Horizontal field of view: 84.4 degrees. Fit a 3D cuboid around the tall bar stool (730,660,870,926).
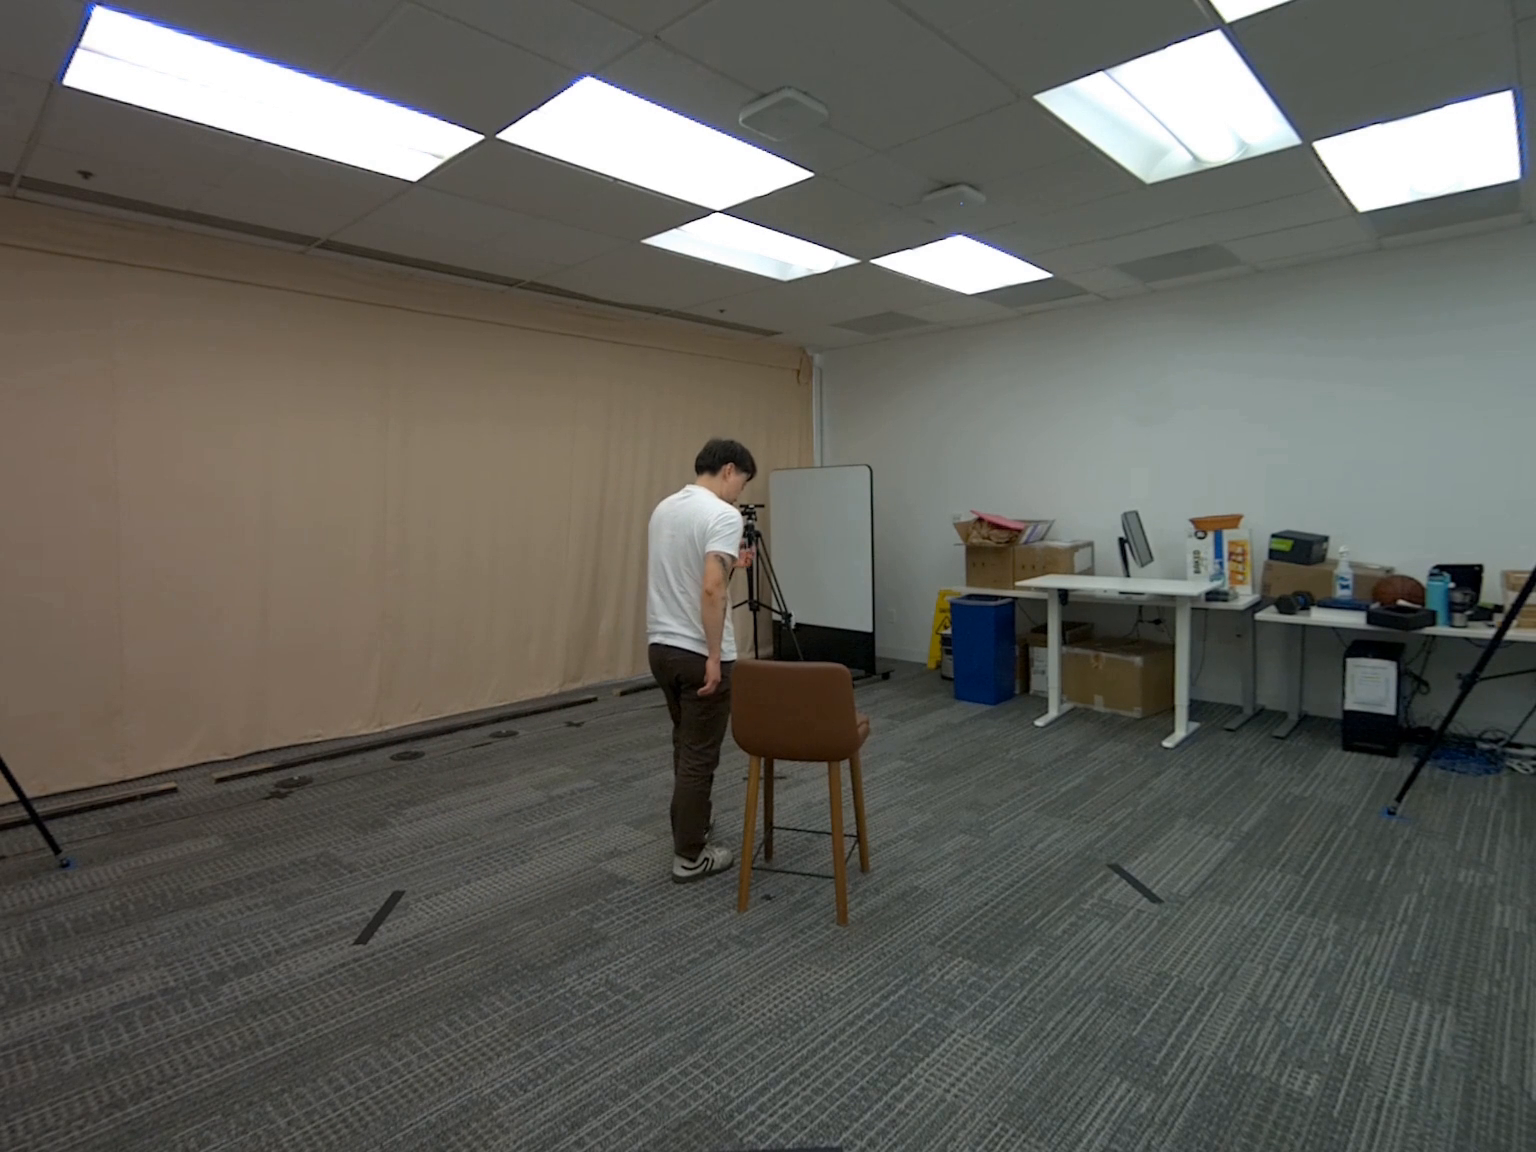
[{"bbox_3d":[0.129,0.703,3.010,0.465,0.887,0.460,0,5,18],"label":"tall bar stool"}]
